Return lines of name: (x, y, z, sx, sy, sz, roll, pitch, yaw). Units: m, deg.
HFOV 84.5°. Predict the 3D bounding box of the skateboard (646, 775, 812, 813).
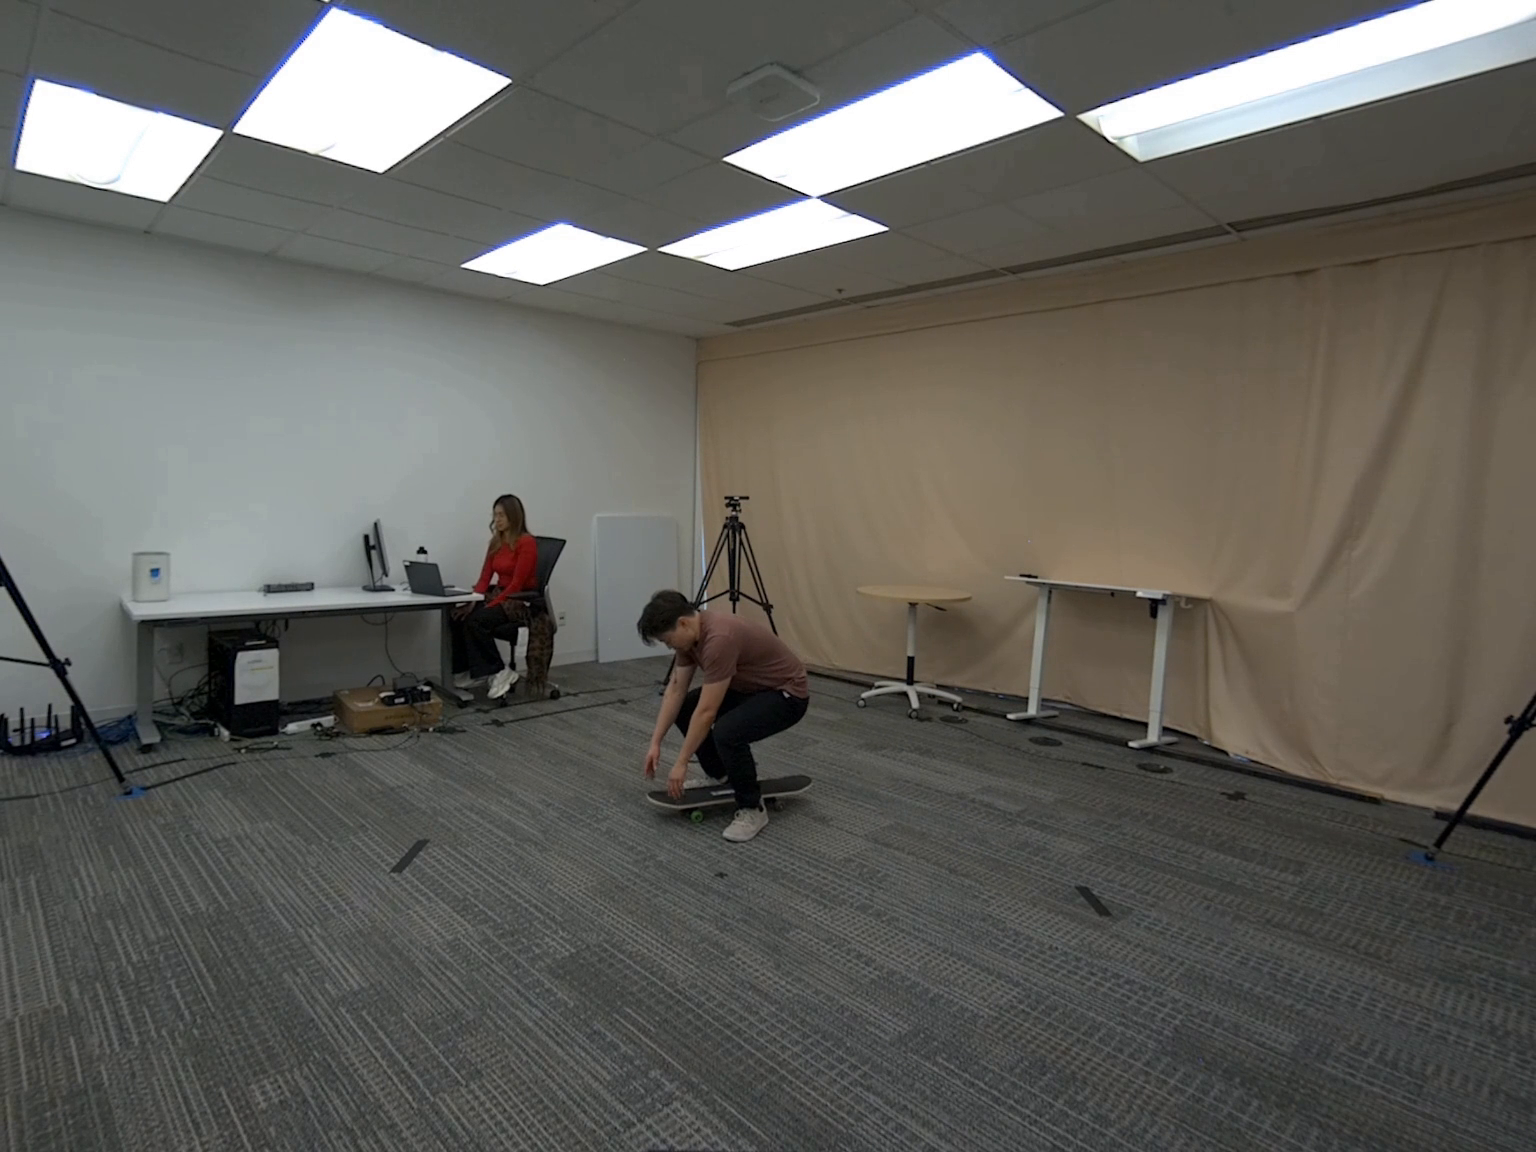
skateboard: (-0.168, 0.986, 3.752, 0.772, 0.110, 0.197, -1, 5, -24)
